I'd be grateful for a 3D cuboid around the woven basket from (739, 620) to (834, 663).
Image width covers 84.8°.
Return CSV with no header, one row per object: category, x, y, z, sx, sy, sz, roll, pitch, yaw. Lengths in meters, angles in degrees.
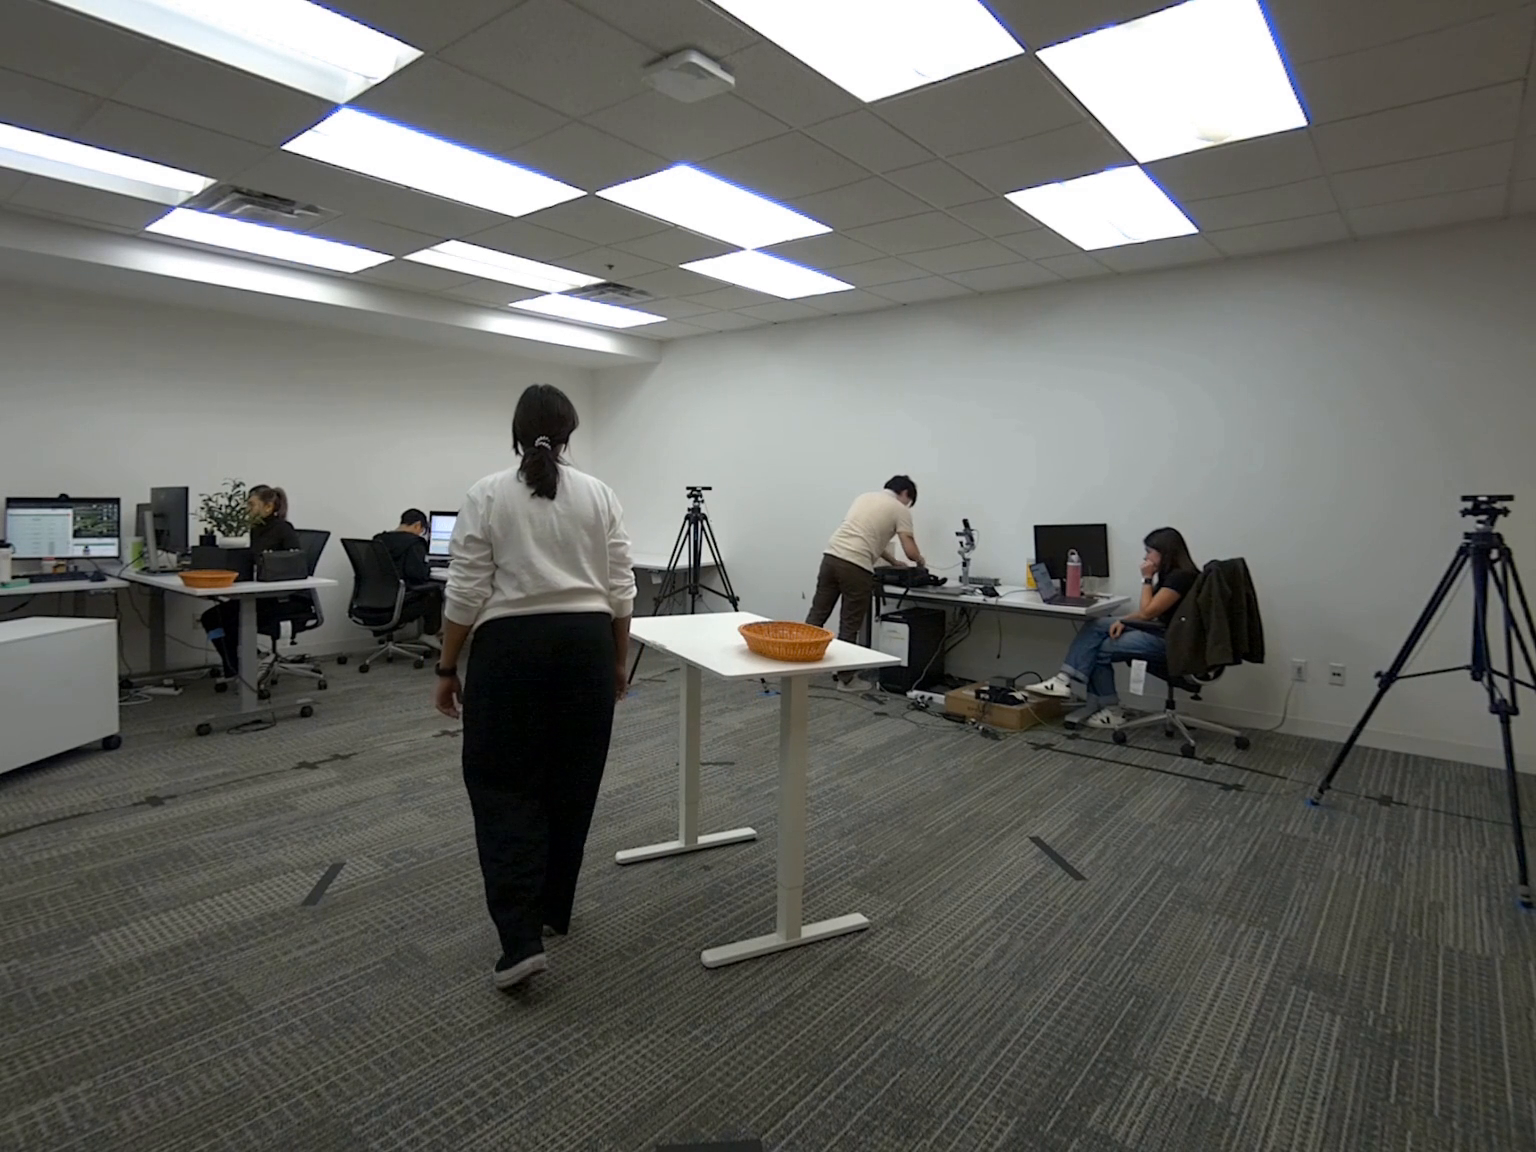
woven basket,0.034,0.209,2.628,0.246,0.073,0.360,-2,7,-25
